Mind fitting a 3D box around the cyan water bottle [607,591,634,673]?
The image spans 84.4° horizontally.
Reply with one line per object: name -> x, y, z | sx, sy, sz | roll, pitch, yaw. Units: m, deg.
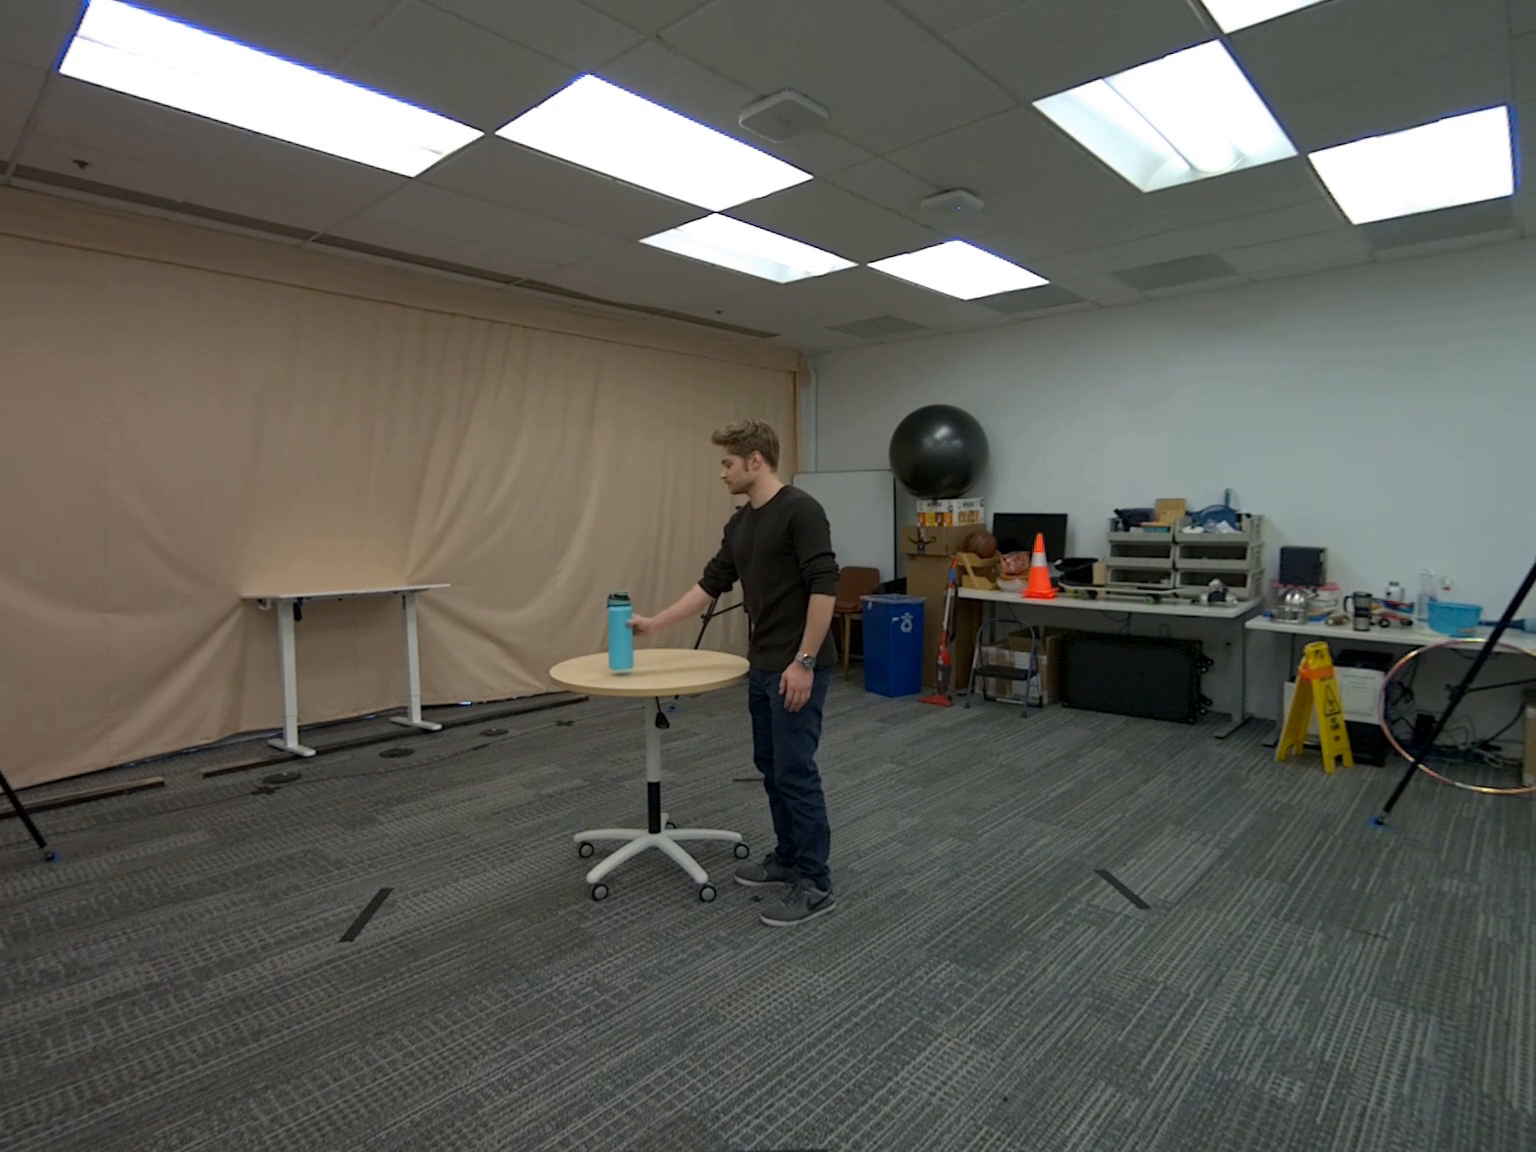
cyan water bottle -> -0.535, 0.196, 3.068 | 0.092, 0.283, 0.092 | -2, 1, -2
